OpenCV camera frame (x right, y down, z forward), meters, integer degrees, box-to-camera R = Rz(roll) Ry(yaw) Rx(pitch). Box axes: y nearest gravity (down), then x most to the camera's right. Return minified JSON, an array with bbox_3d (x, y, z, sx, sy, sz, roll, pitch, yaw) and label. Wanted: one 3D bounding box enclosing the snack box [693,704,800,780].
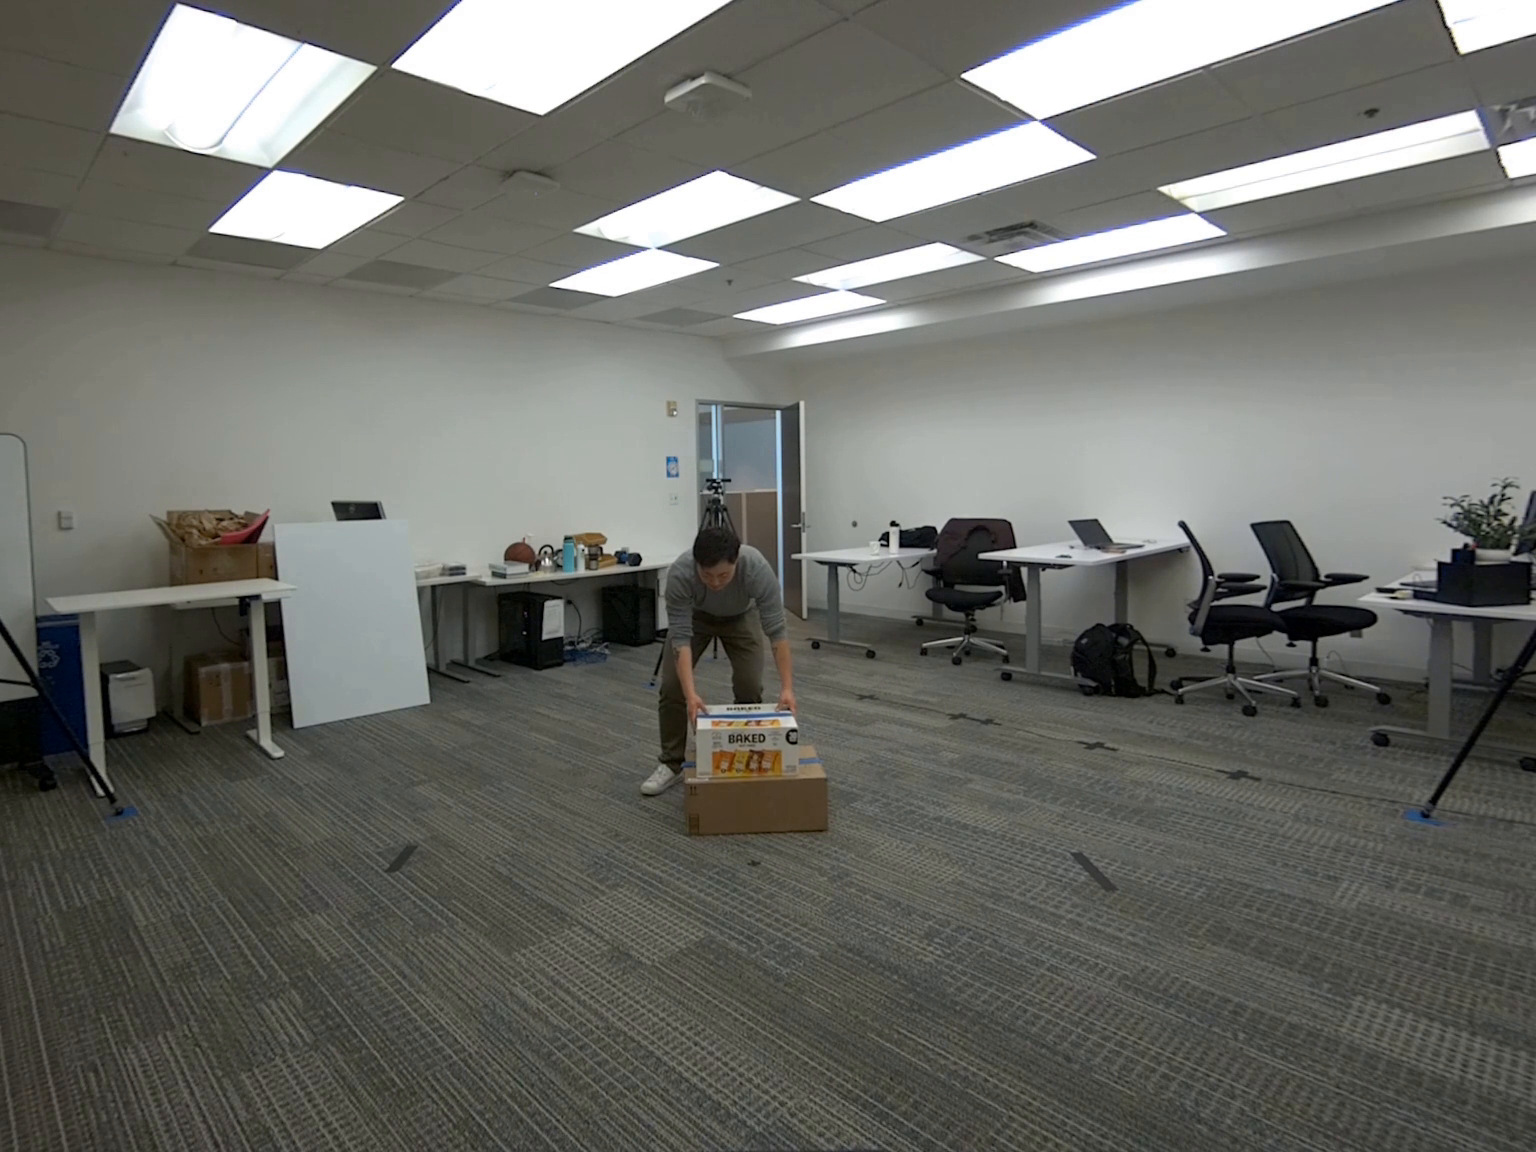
[{"bbox_3d":[-0.097,0.680,3.553,0.404,0.205,0.343,-1,6,-3],"label":"snack box"}]
